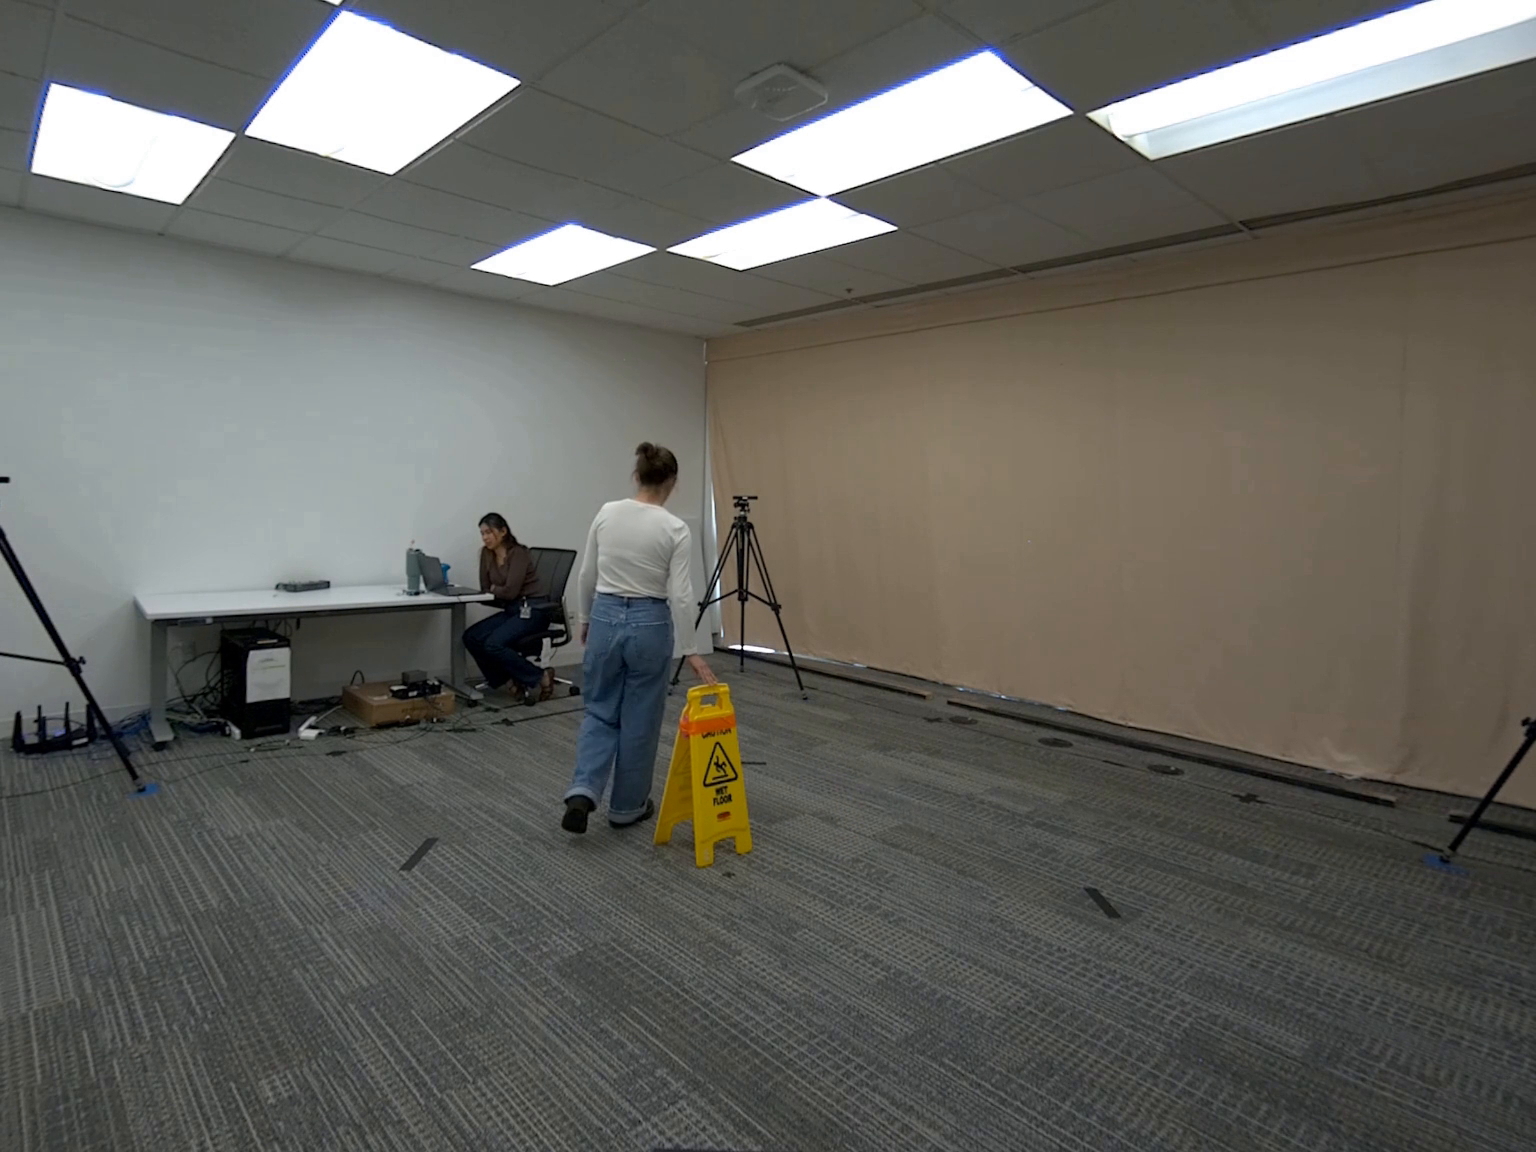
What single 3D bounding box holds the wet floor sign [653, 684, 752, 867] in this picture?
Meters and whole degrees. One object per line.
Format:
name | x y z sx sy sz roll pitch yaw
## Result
wet floor sign | -0.256 0.755 3.327 0.275 0.645 0.297 0 3 -43
